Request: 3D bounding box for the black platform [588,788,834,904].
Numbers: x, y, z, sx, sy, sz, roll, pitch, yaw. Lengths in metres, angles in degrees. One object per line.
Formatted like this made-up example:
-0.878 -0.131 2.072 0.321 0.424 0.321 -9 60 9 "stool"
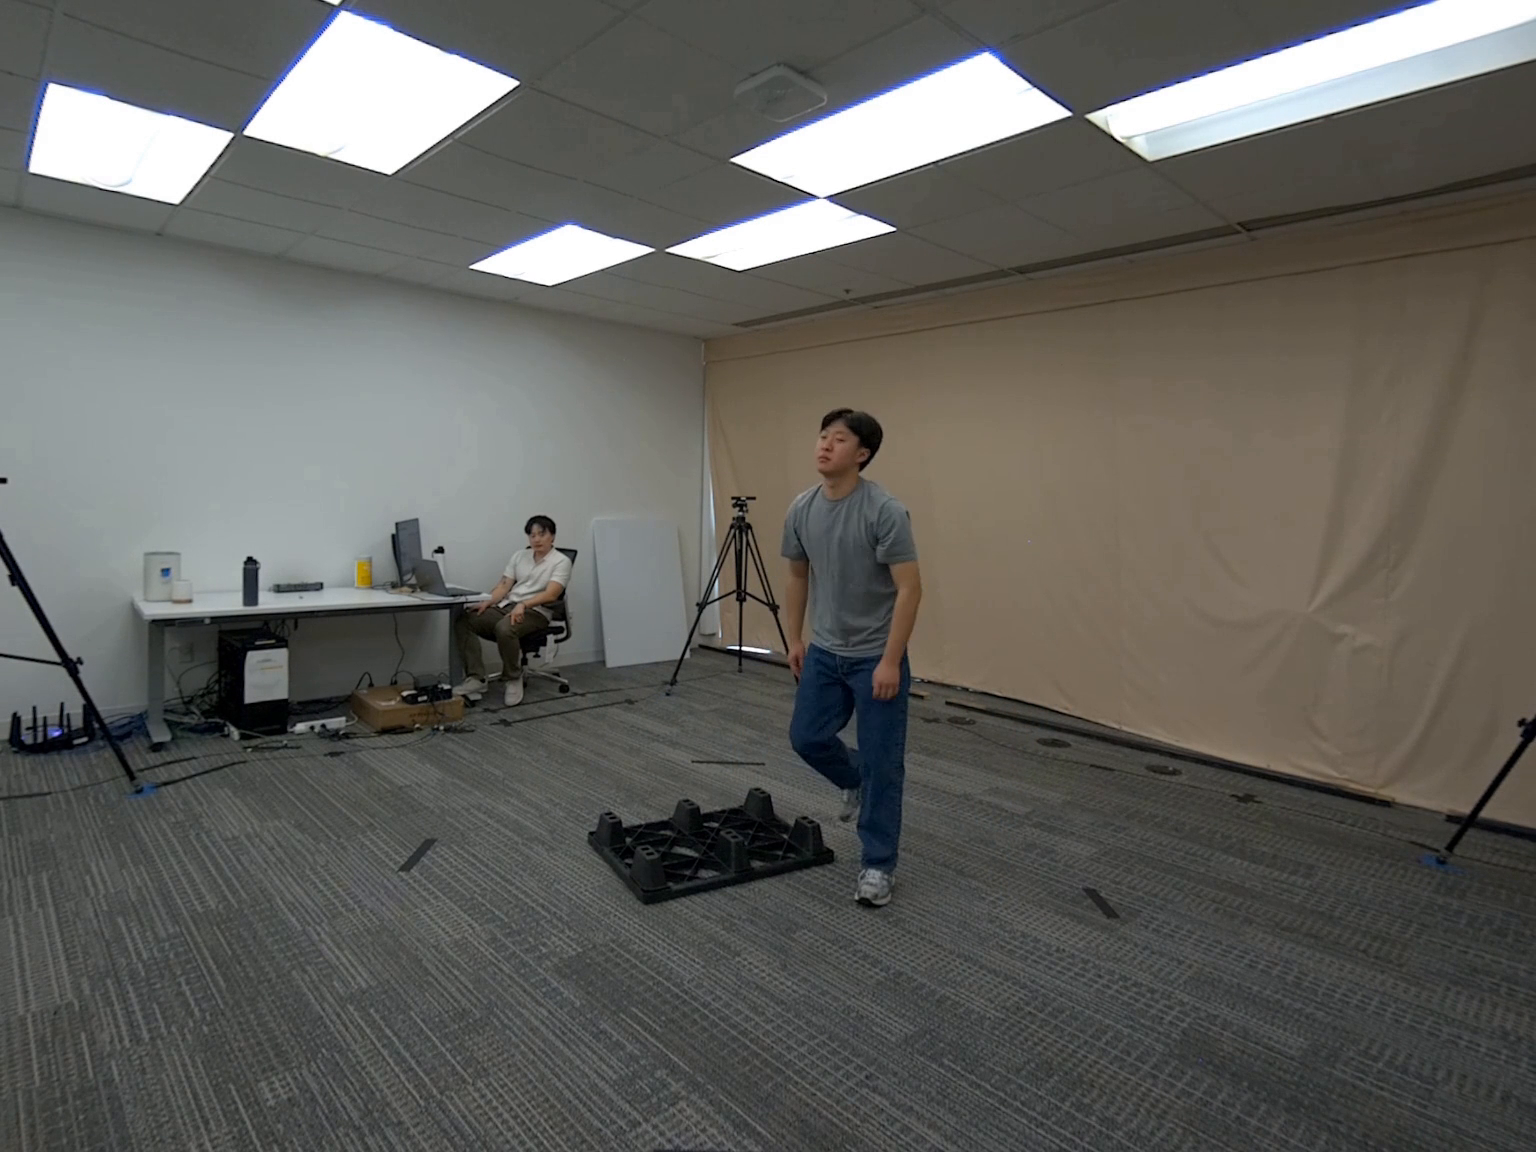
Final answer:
-0.240 1.020 3.300 0.789 0.143 0.619 -2 6 -30 "black platform"
